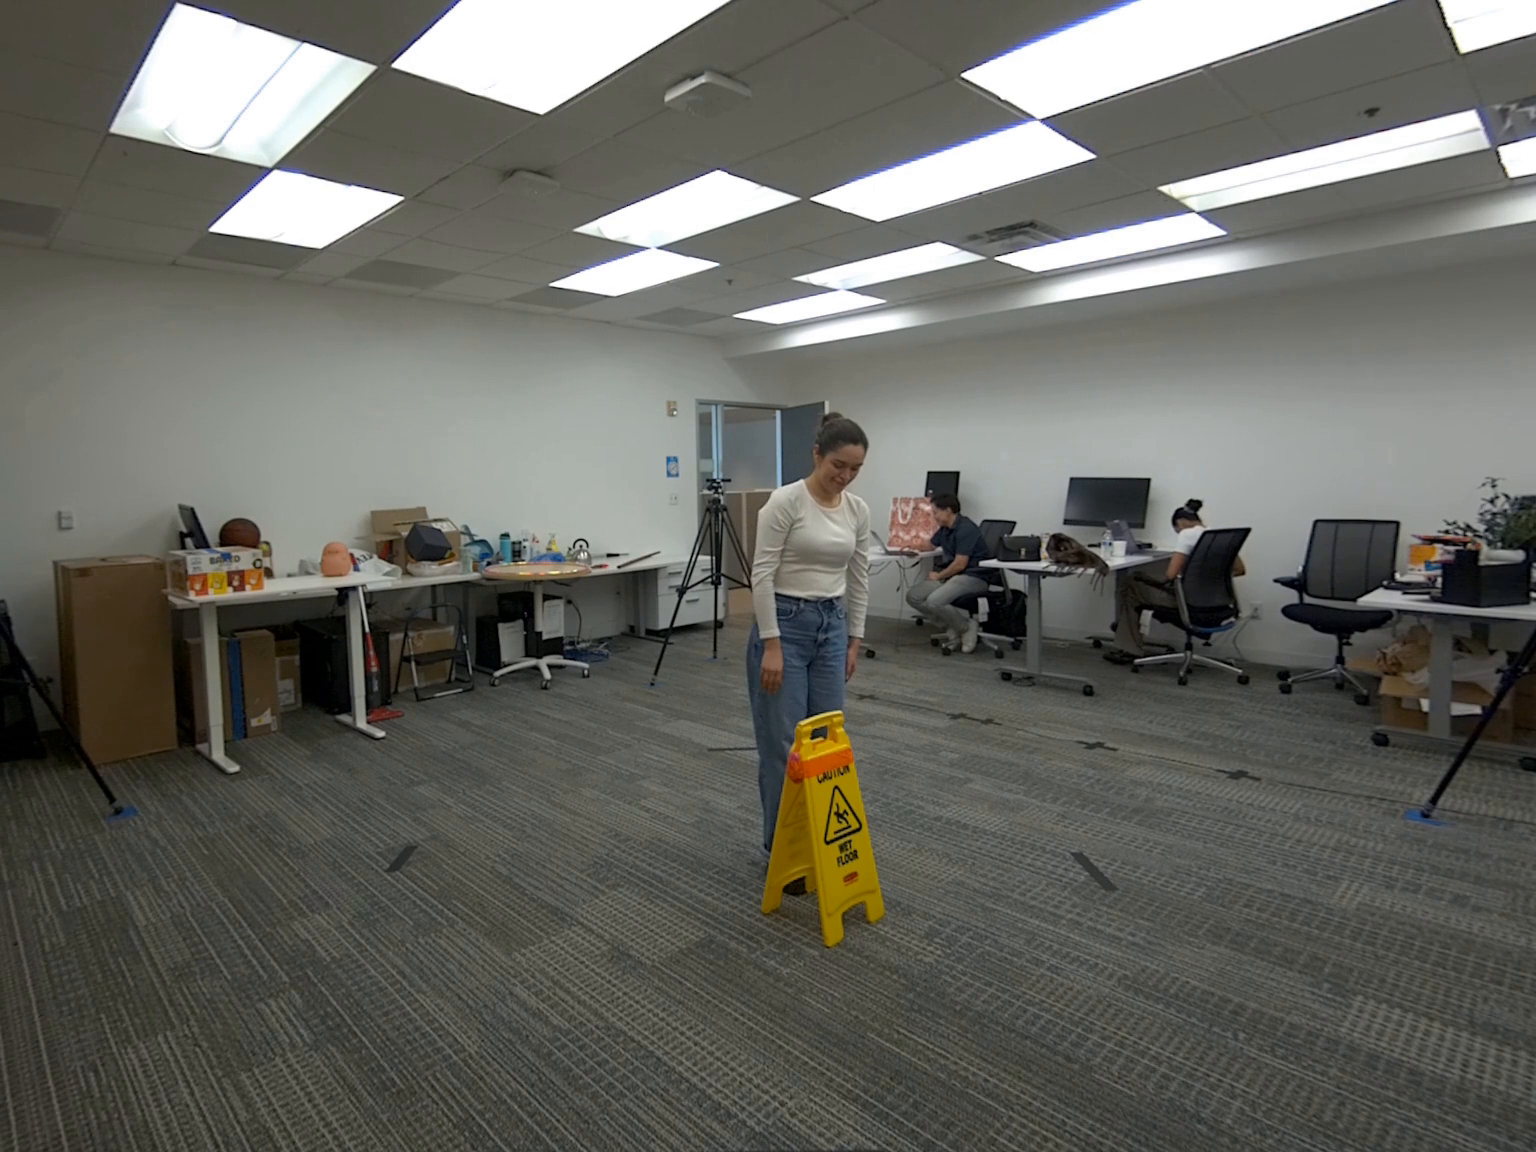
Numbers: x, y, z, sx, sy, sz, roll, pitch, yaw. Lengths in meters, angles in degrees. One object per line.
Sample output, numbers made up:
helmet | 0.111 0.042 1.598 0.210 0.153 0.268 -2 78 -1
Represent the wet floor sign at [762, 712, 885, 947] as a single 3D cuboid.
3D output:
wet floor sign | 0.164 0.765 2.715 0.275 0.644 0.298 -5 4 -43
